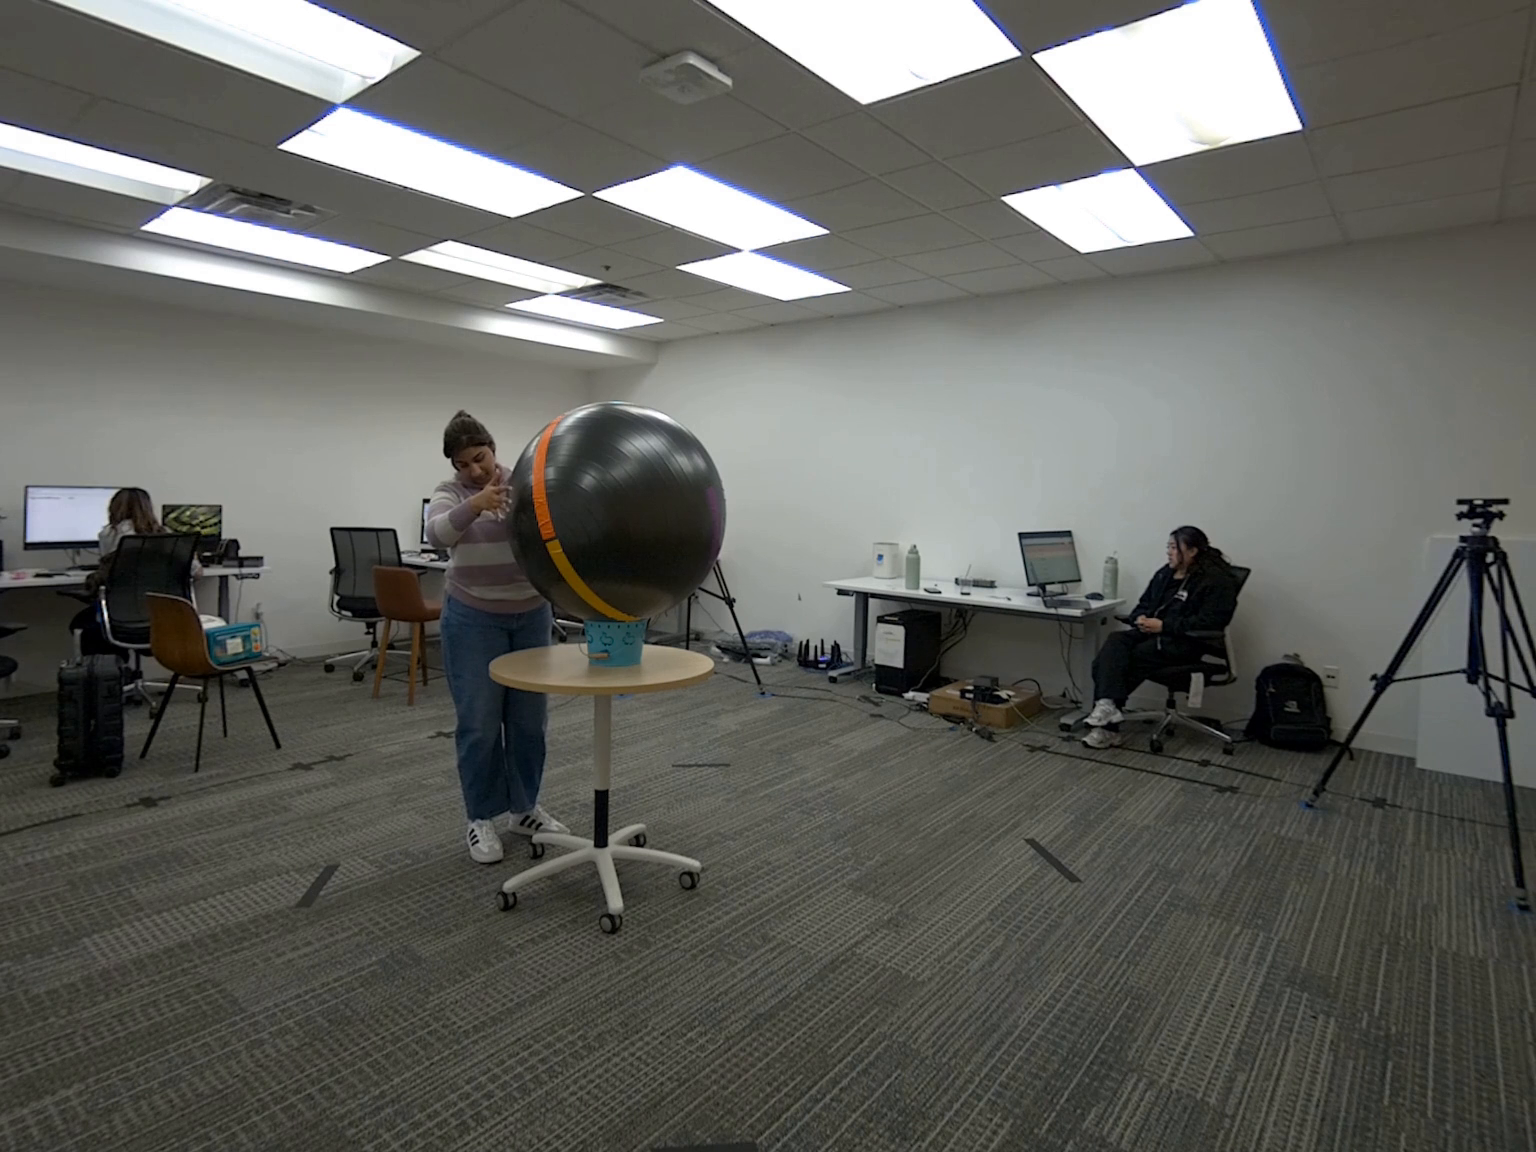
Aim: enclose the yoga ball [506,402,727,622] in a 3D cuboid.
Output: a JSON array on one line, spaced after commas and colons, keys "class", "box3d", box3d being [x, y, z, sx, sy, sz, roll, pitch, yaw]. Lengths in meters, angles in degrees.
[{"class": "yoga ball", "box3d": [-0.531, -0.216, 2.929, 0.757, 0.755, 0.762, 1, 4, -2]}]
